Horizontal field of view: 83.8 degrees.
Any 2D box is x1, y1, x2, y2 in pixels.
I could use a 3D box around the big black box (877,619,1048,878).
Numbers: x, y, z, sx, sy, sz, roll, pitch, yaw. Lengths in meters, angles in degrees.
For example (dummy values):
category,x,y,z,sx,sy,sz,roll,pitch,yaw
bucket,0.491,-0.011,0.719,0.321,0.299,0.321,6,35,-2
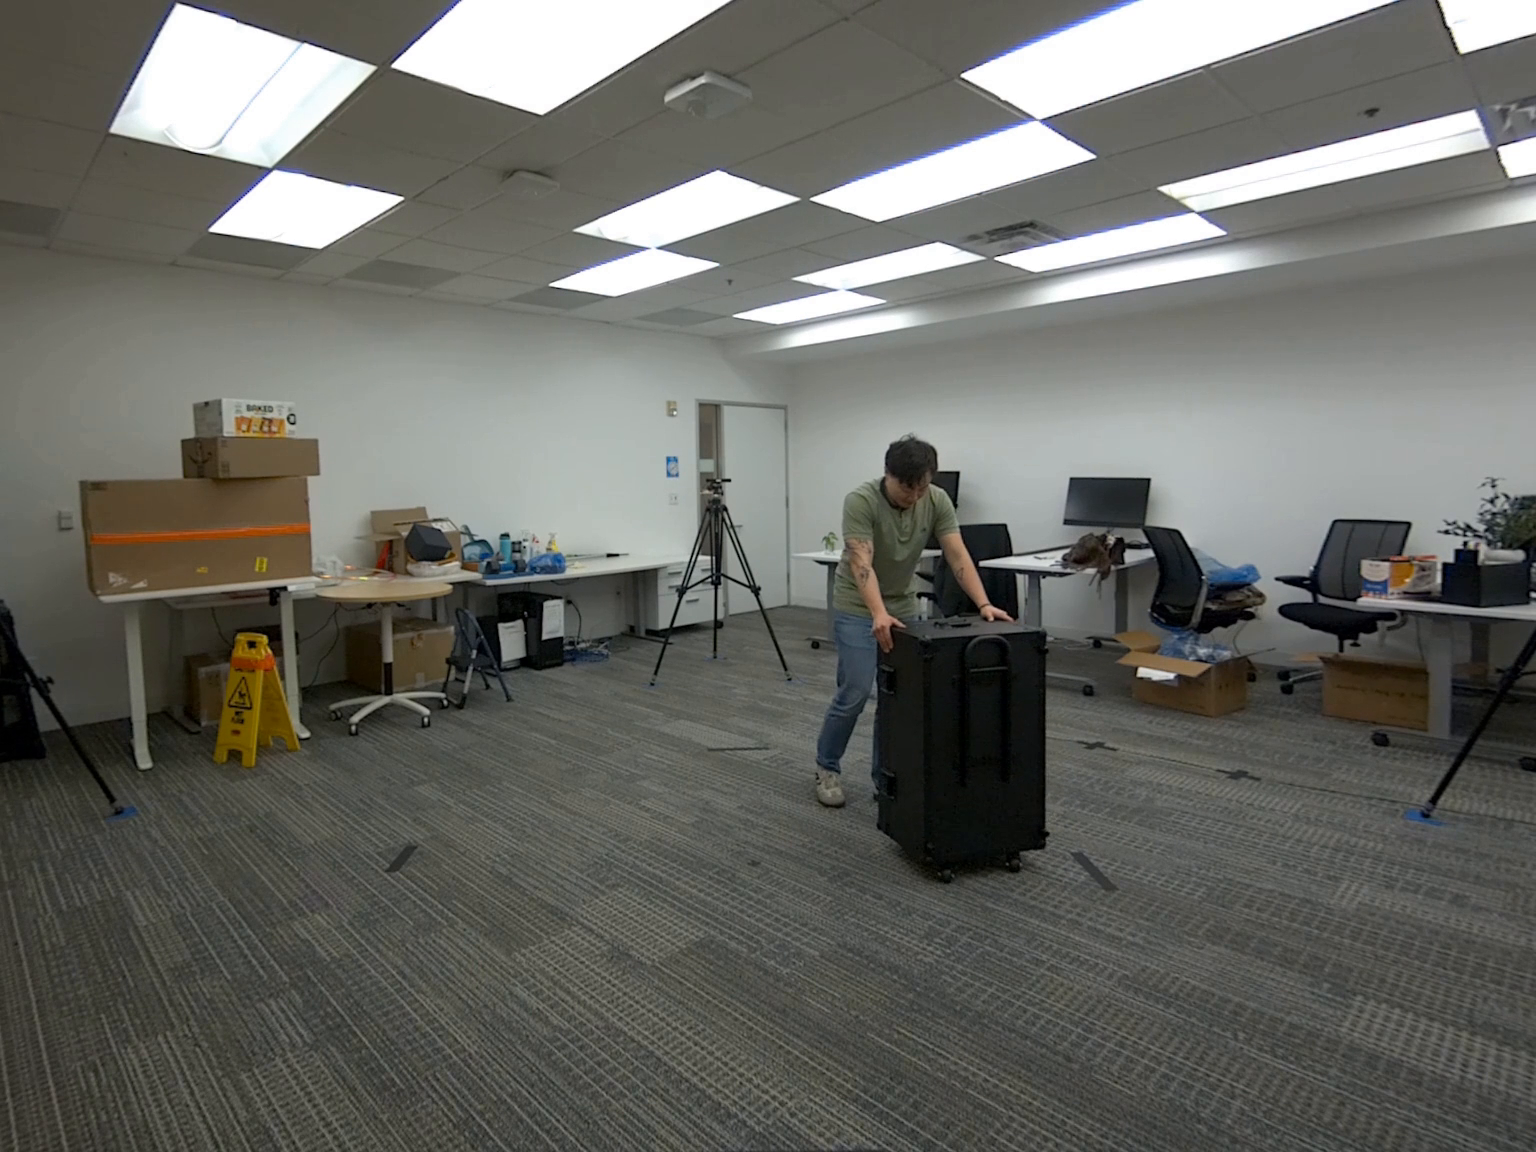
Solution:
category,x,y,z,sx,sy,sz,roll,pitch,yaw
big black box,0.703,0.608,3.097,0.513,0.858,0.404,-2,5,-17
